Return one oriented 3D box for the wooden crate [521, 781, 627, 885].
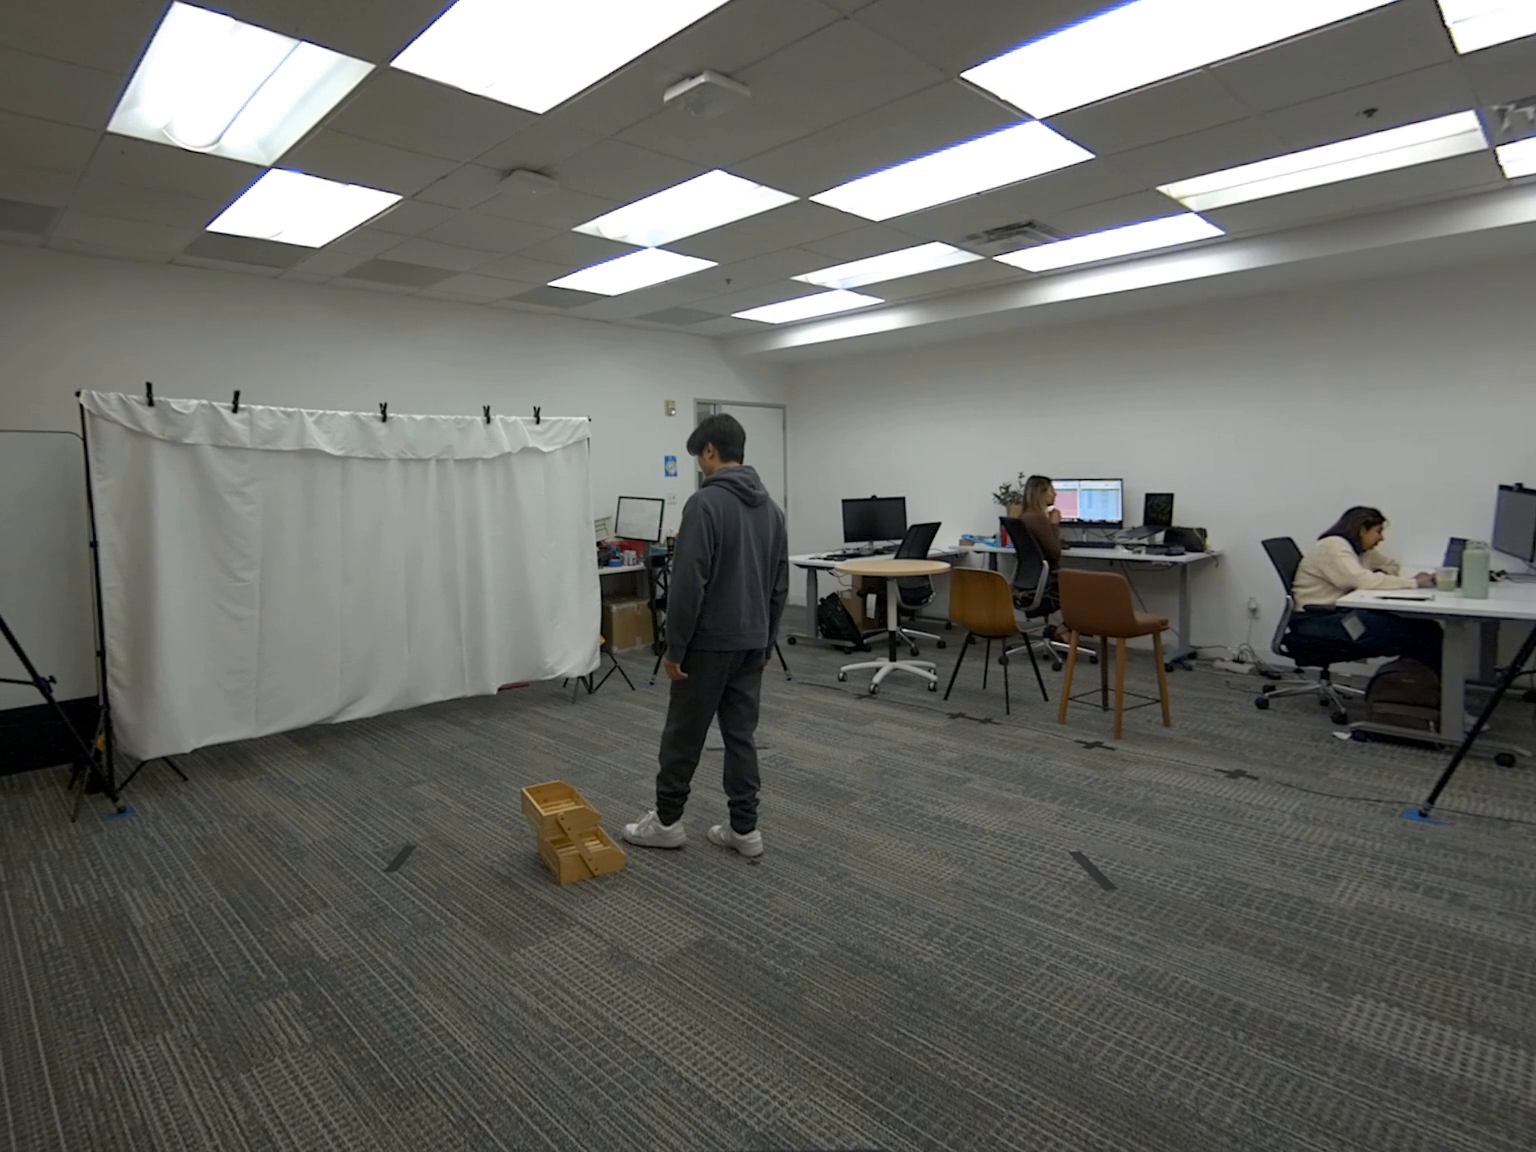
[{"bbox_3d":[-0.712,0.917,3.133,0.295,0.272,0.333,-5,6,-29],"label":"wooden crate"}]
